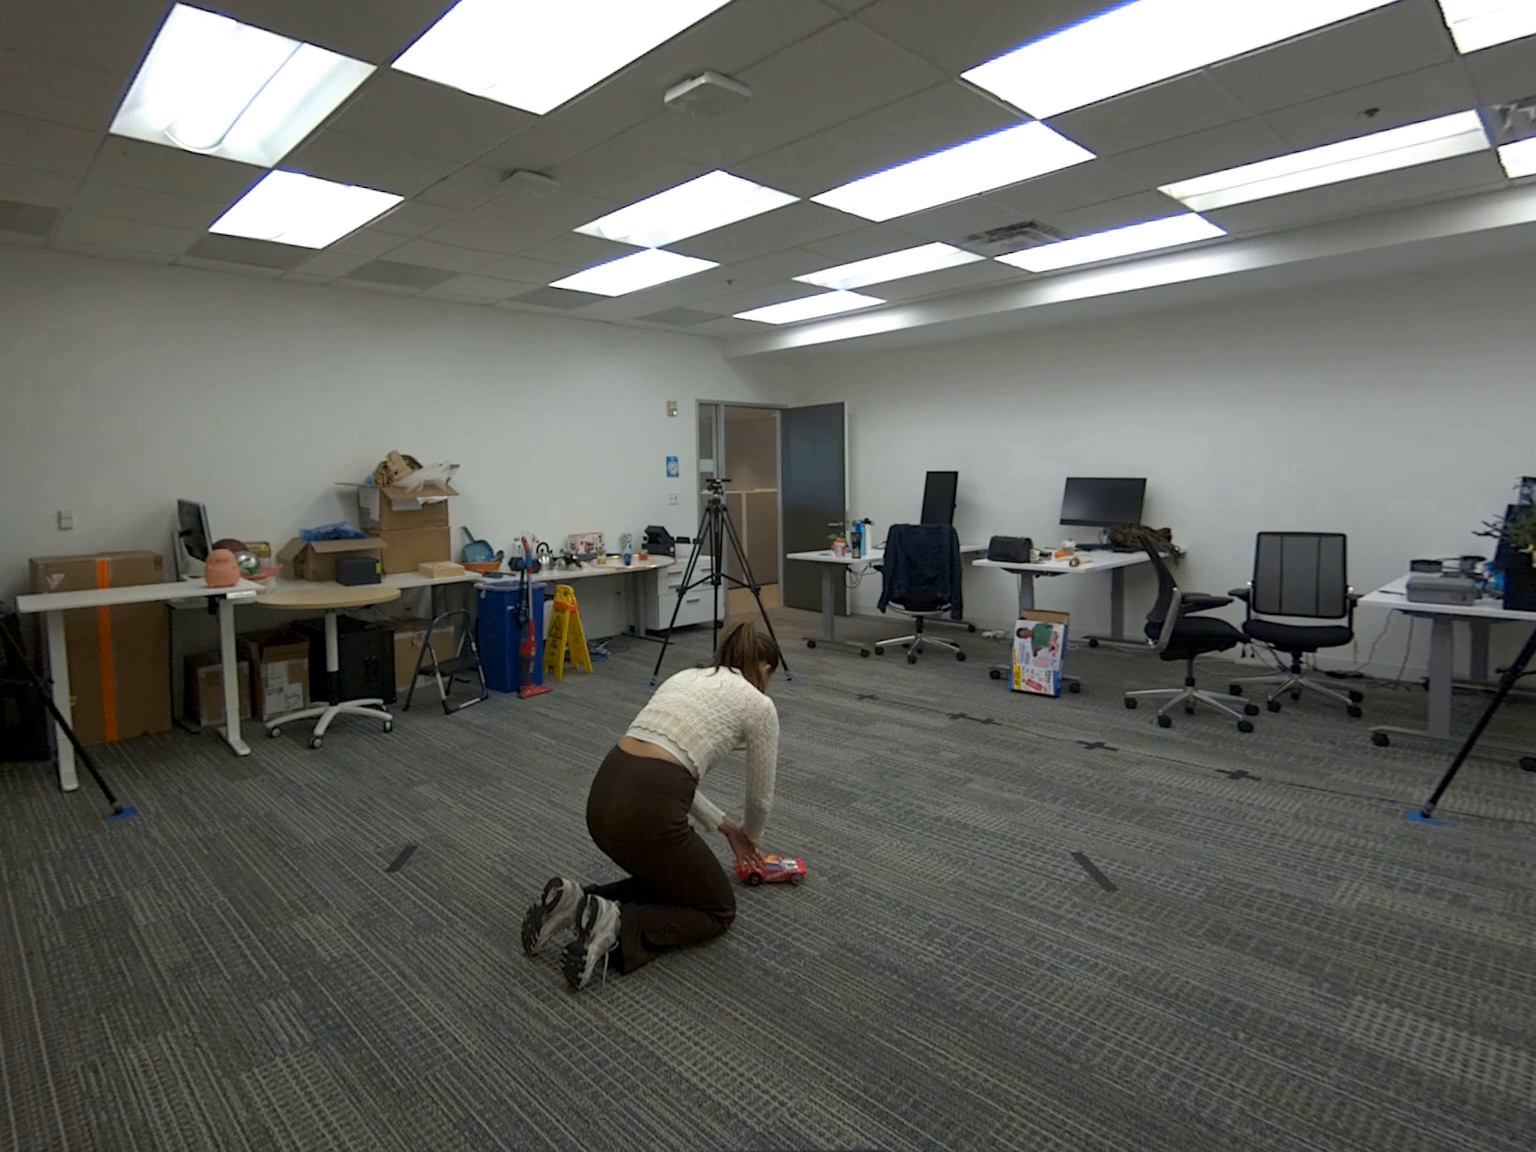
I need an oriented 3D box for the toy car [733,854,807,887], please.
[{"bbox_3d":[-0.002,1.025,2.977,0.255,0.083,0.130,9,5,1],"label":"toy car"}]
